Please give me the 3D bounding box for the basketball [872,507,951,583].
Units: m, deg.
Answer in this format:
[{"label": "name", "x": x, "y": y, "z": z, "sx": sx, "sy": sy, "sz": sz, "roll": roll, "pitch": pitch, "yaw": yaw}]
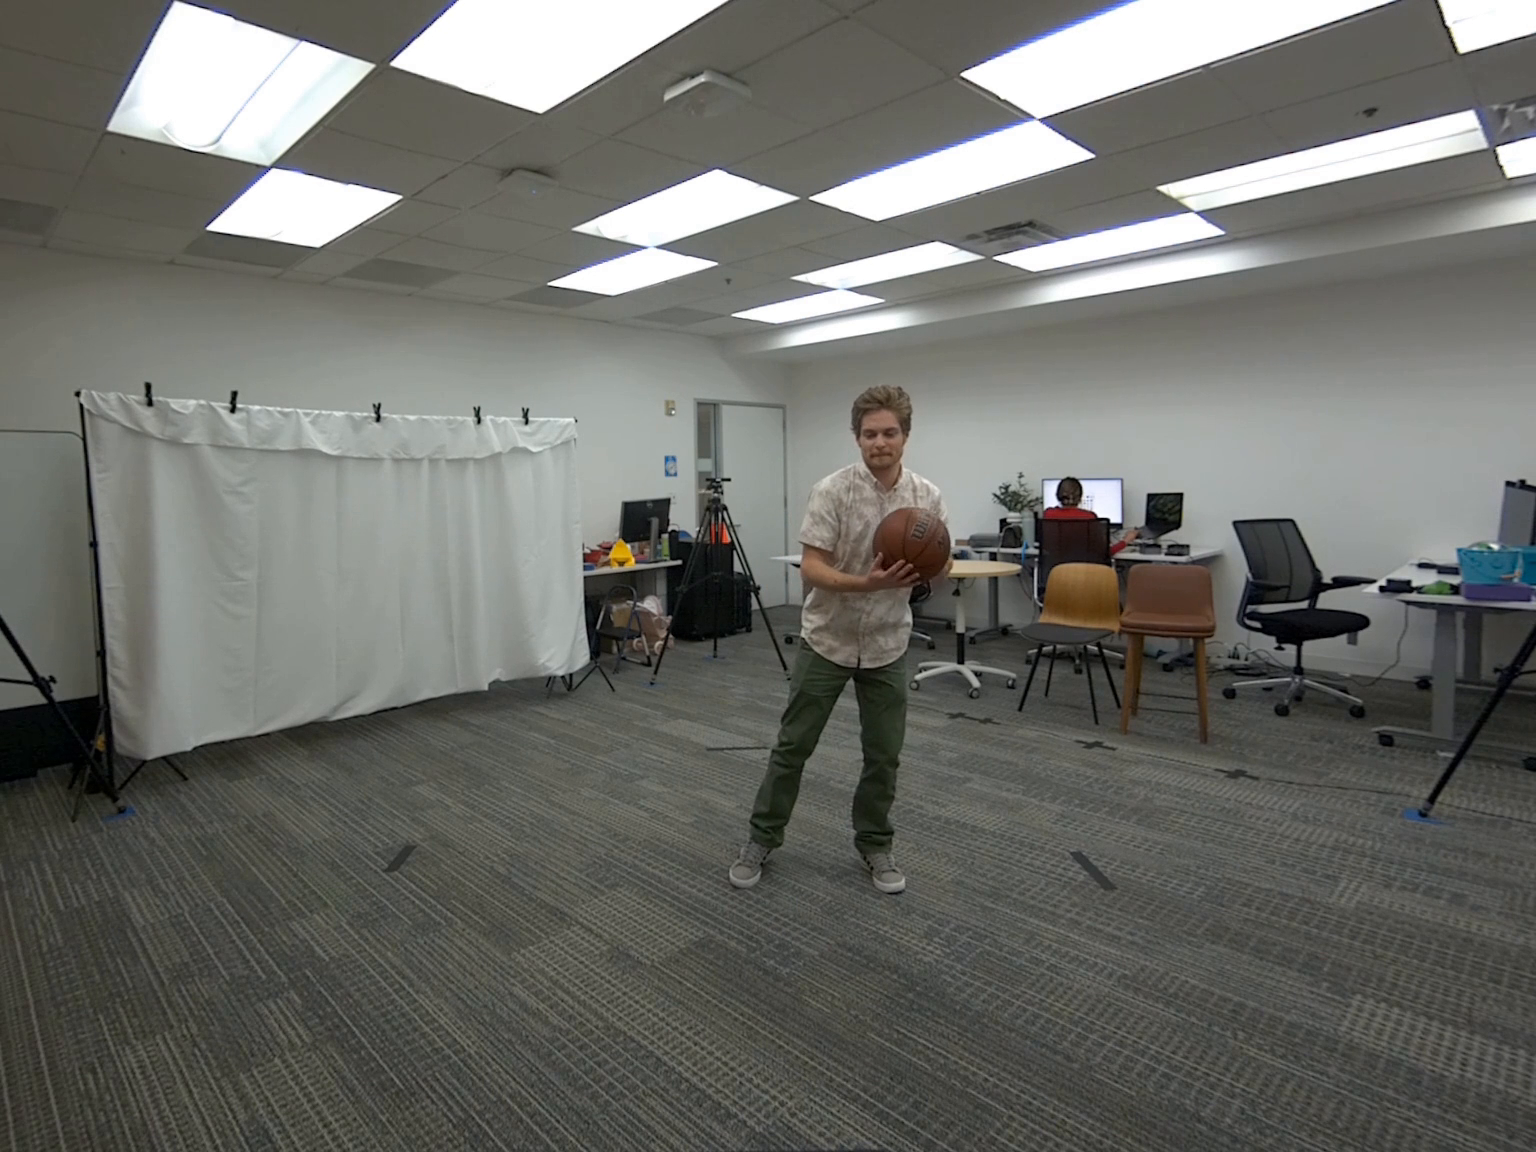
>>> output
[{"label": "basketball", "x": 0.444, "y": -0.086, "z": 2.655, "sx": 0.236, "sy": 0.235, "sz": 0.237, "roll": -1, "pitch": 5, "yaw": -2}]
